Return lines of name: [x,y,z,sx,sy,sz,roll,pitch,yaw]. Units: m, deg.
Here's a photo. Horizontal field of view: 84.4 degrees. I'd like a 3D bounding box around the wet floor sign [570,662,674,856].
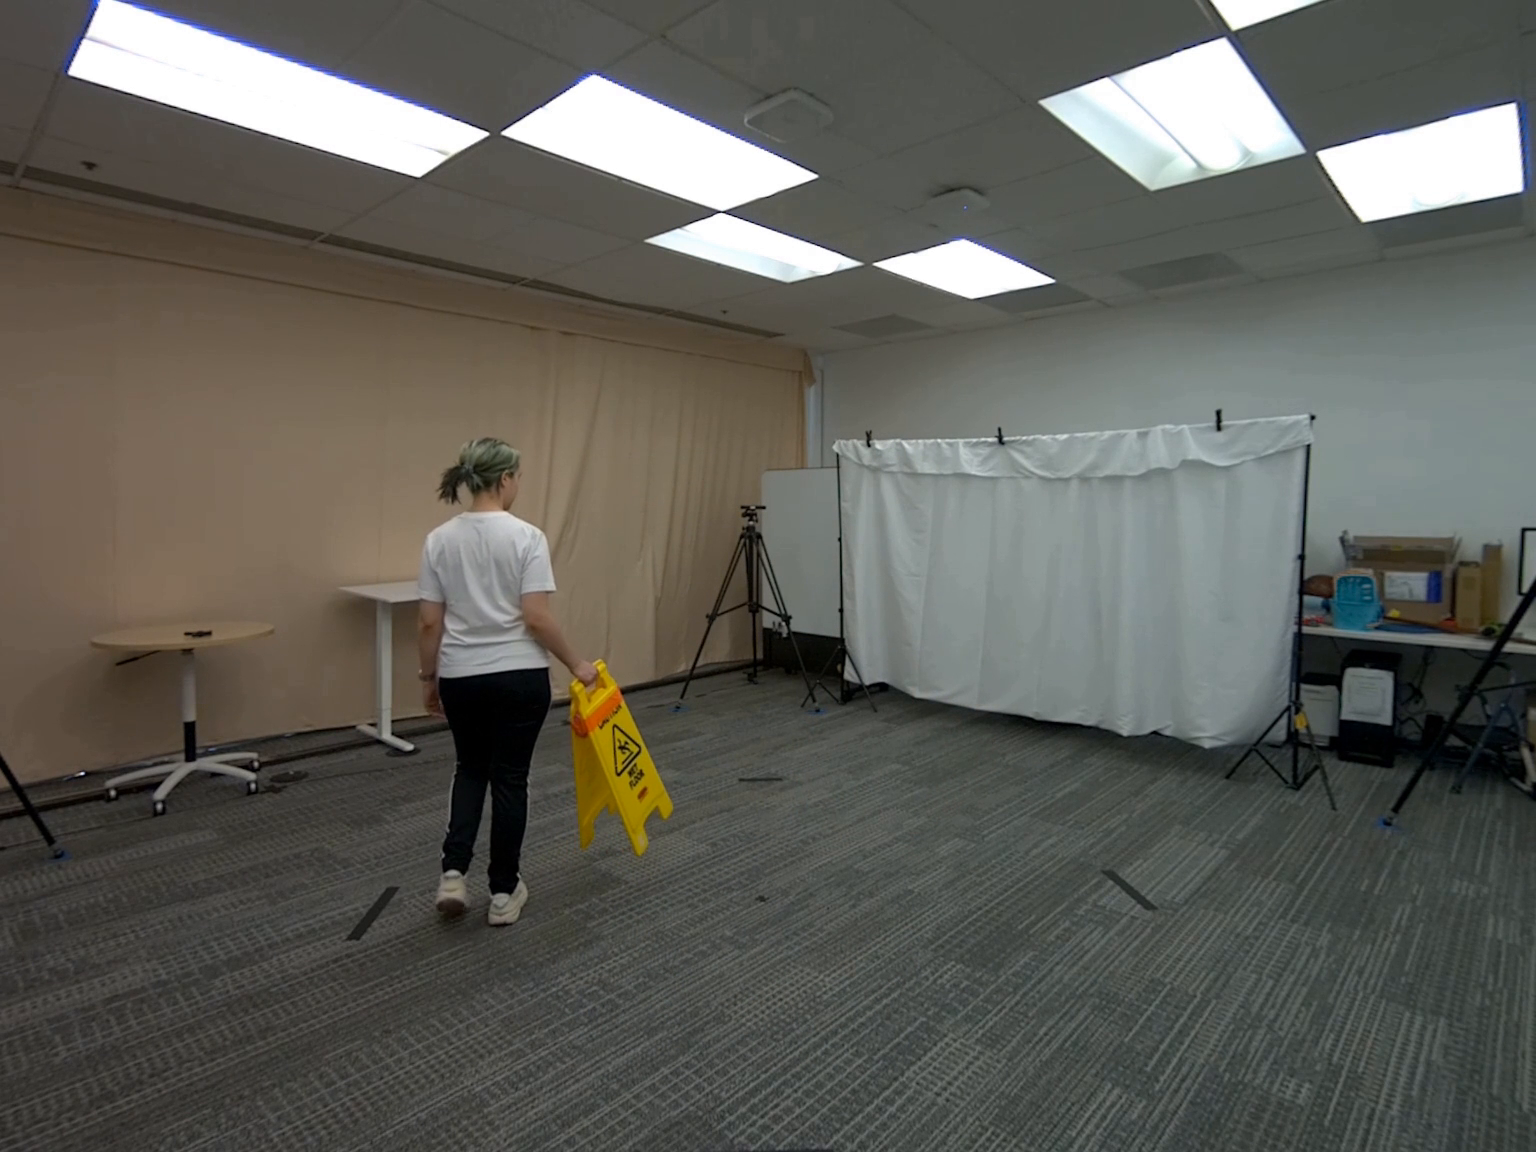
wet floor sign: [-0.582,0.636,3.010,0.296,0.638,0.279,-4,17,23]
